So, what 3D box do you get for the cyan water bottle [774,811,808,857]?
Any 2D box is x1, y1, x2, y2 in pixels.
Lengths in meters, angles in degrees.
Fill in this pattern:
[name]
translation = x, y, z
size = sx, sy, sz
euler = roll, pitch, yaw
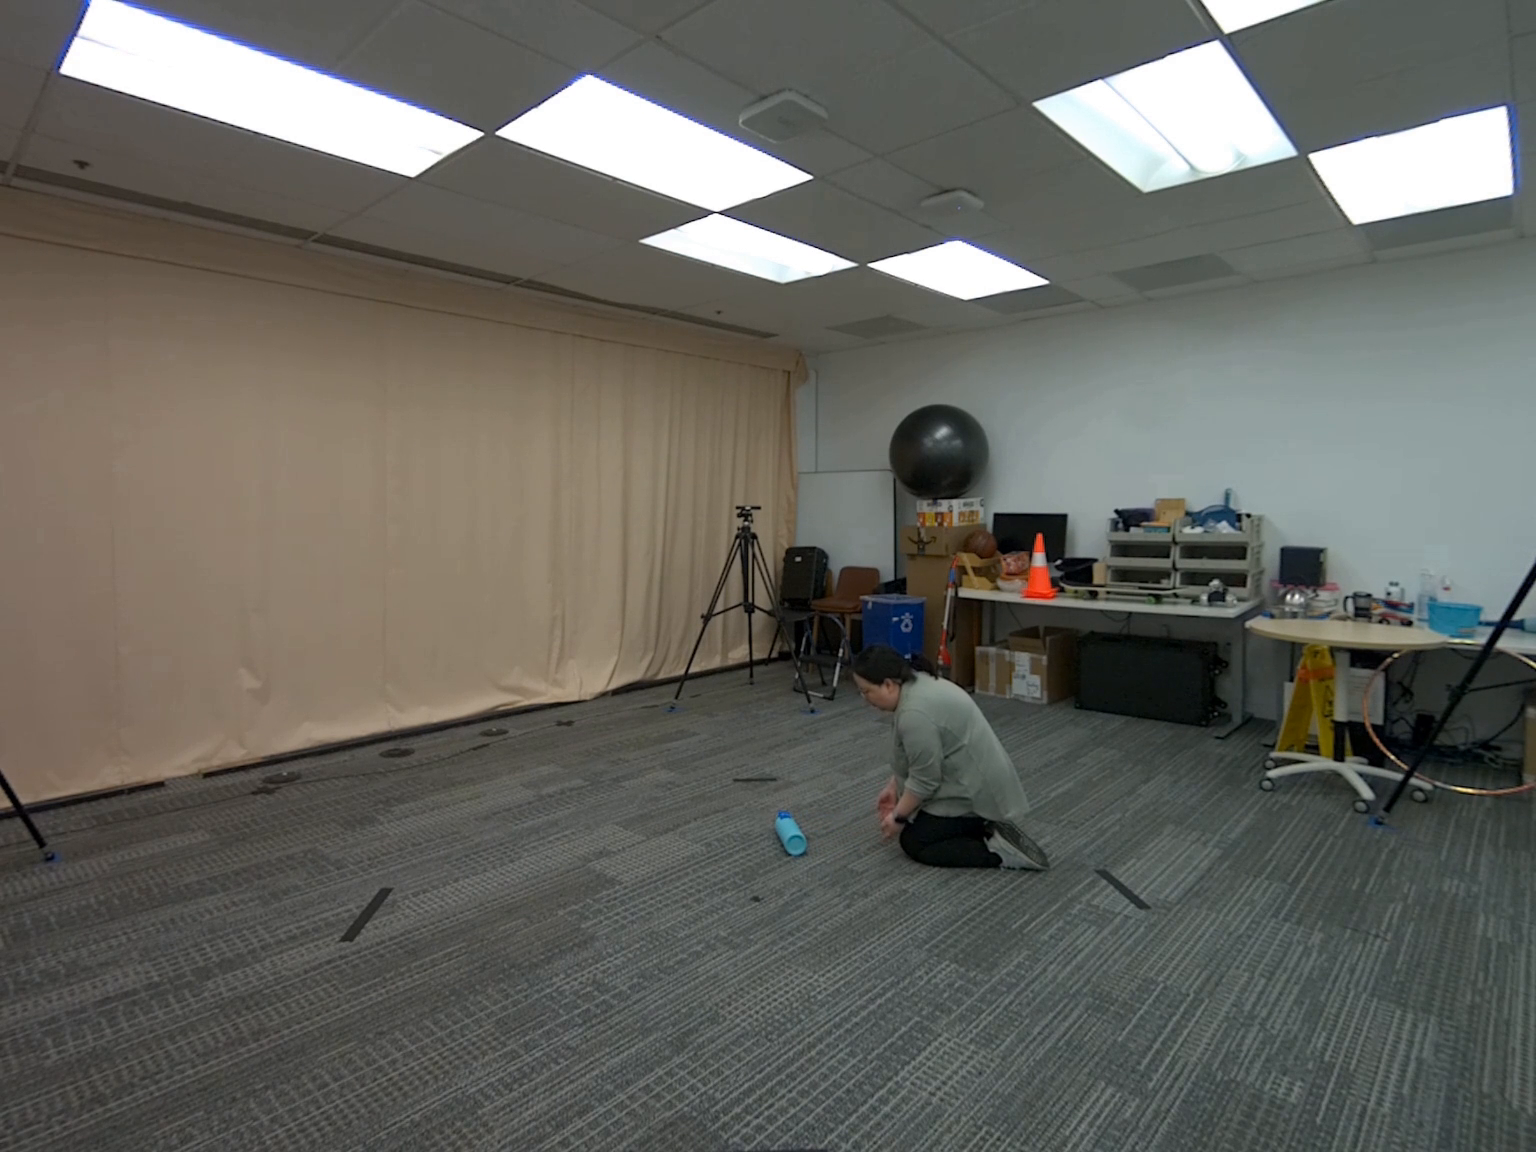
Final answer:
[cyan water bottle]
translation = 0.090, 1.058, 3.487
size = 0.091, 0.092, 0.287
euler = -1, 4, -10
